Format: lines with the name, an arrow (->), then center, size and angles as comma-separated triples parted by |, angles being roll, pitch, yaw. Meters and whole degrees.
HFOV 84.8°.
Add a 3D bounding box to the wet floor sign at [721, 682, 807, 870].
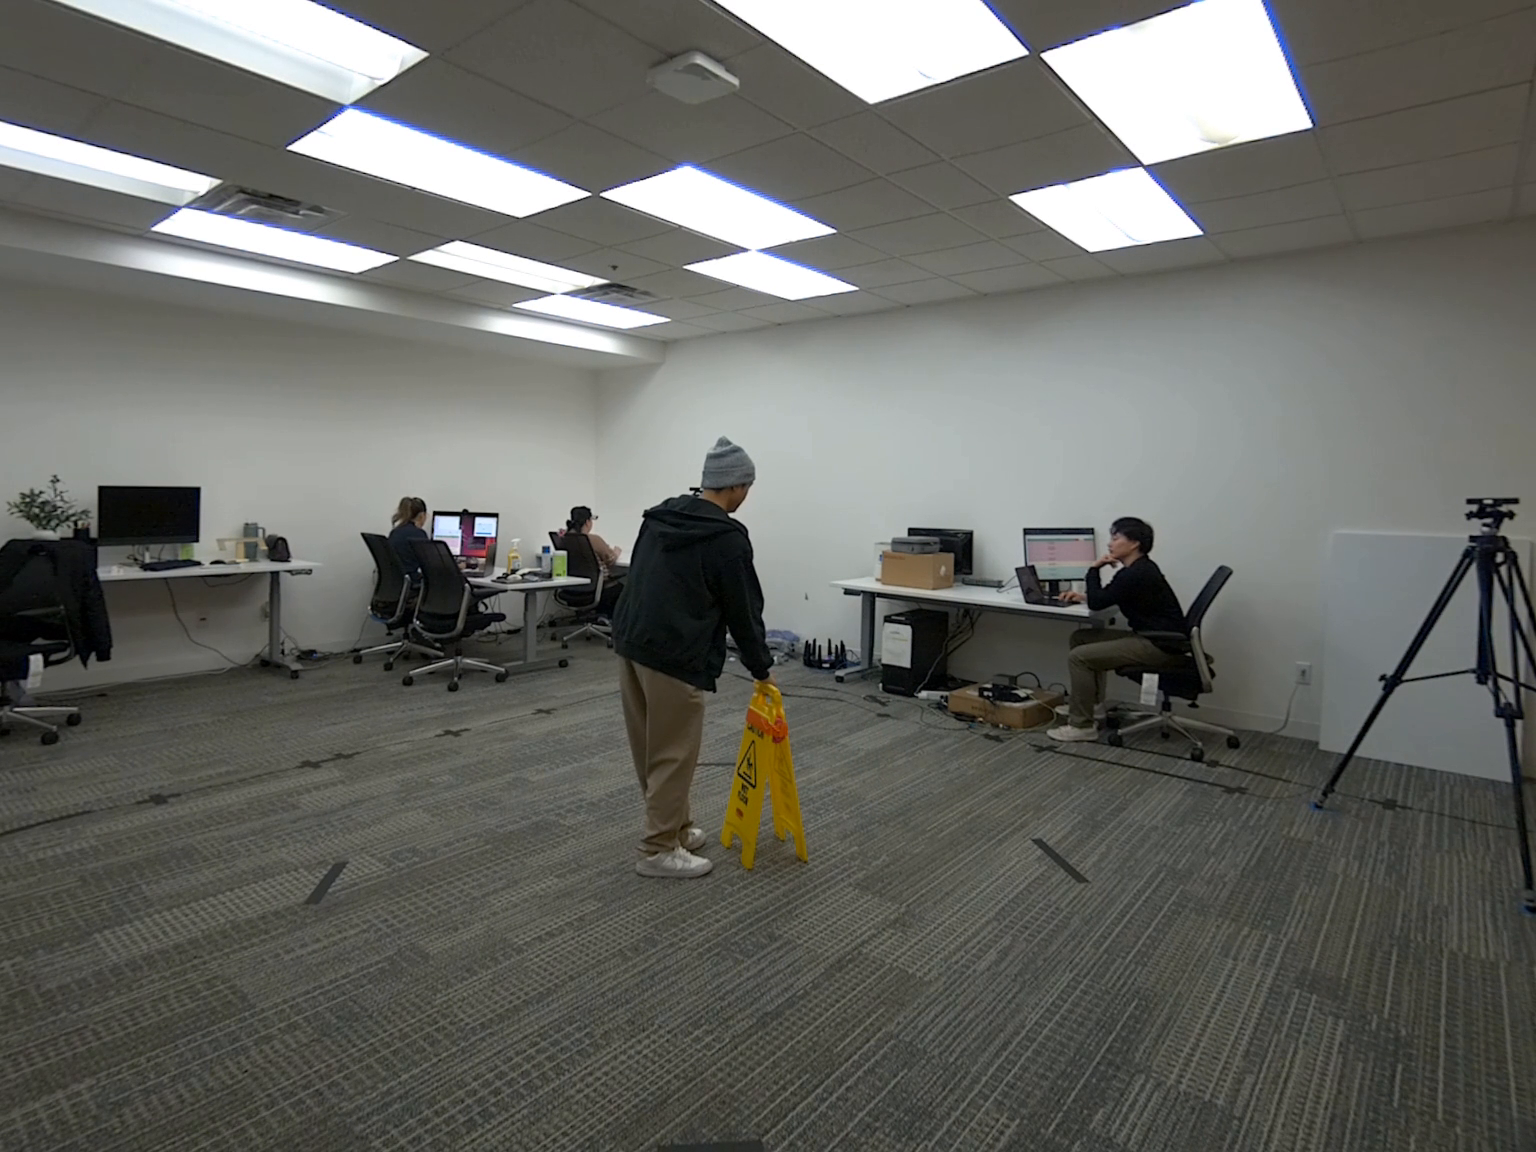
wet floor sign -> -0.019, 0.729, 3.252 | 0.283, 0.644, 0.289 | 2, 3, -22
